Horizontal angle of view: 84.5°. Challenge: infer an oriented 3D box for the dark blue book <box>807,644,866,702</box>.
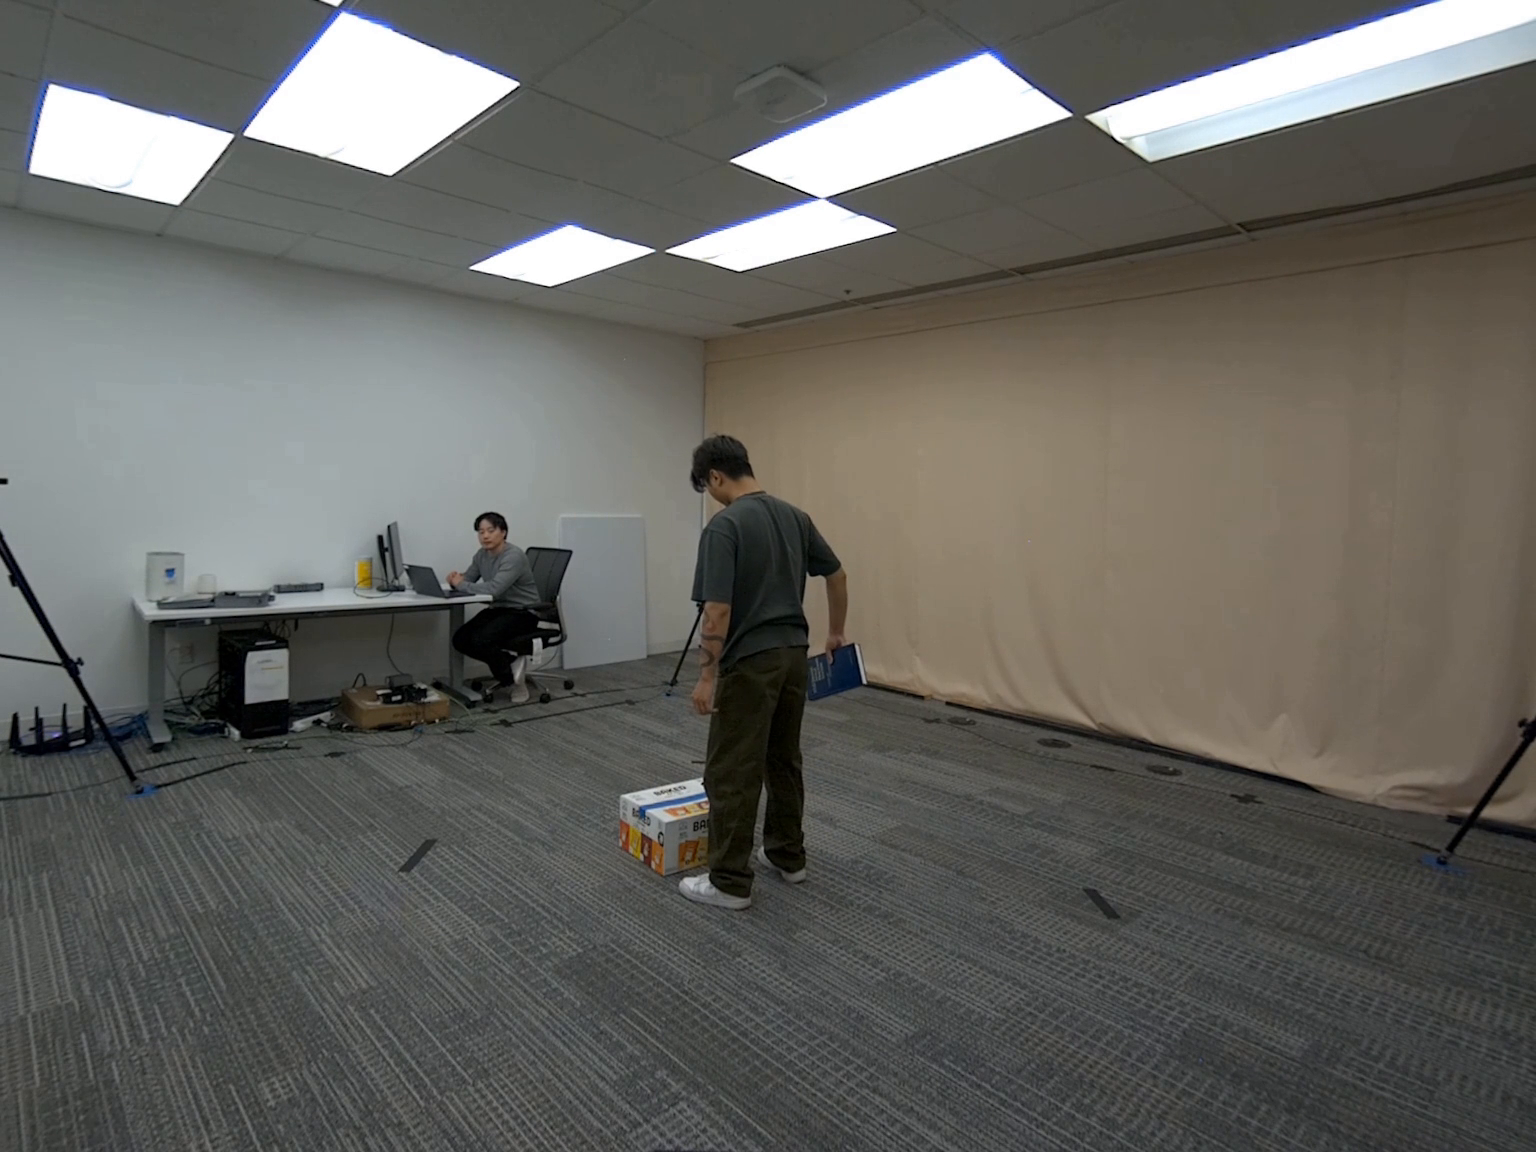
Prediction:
[{"bbox_3d":[0.247,0.370,3.237,0.248,0.166,0.044,-23,-27,31],"label":"dark blue book"}]
